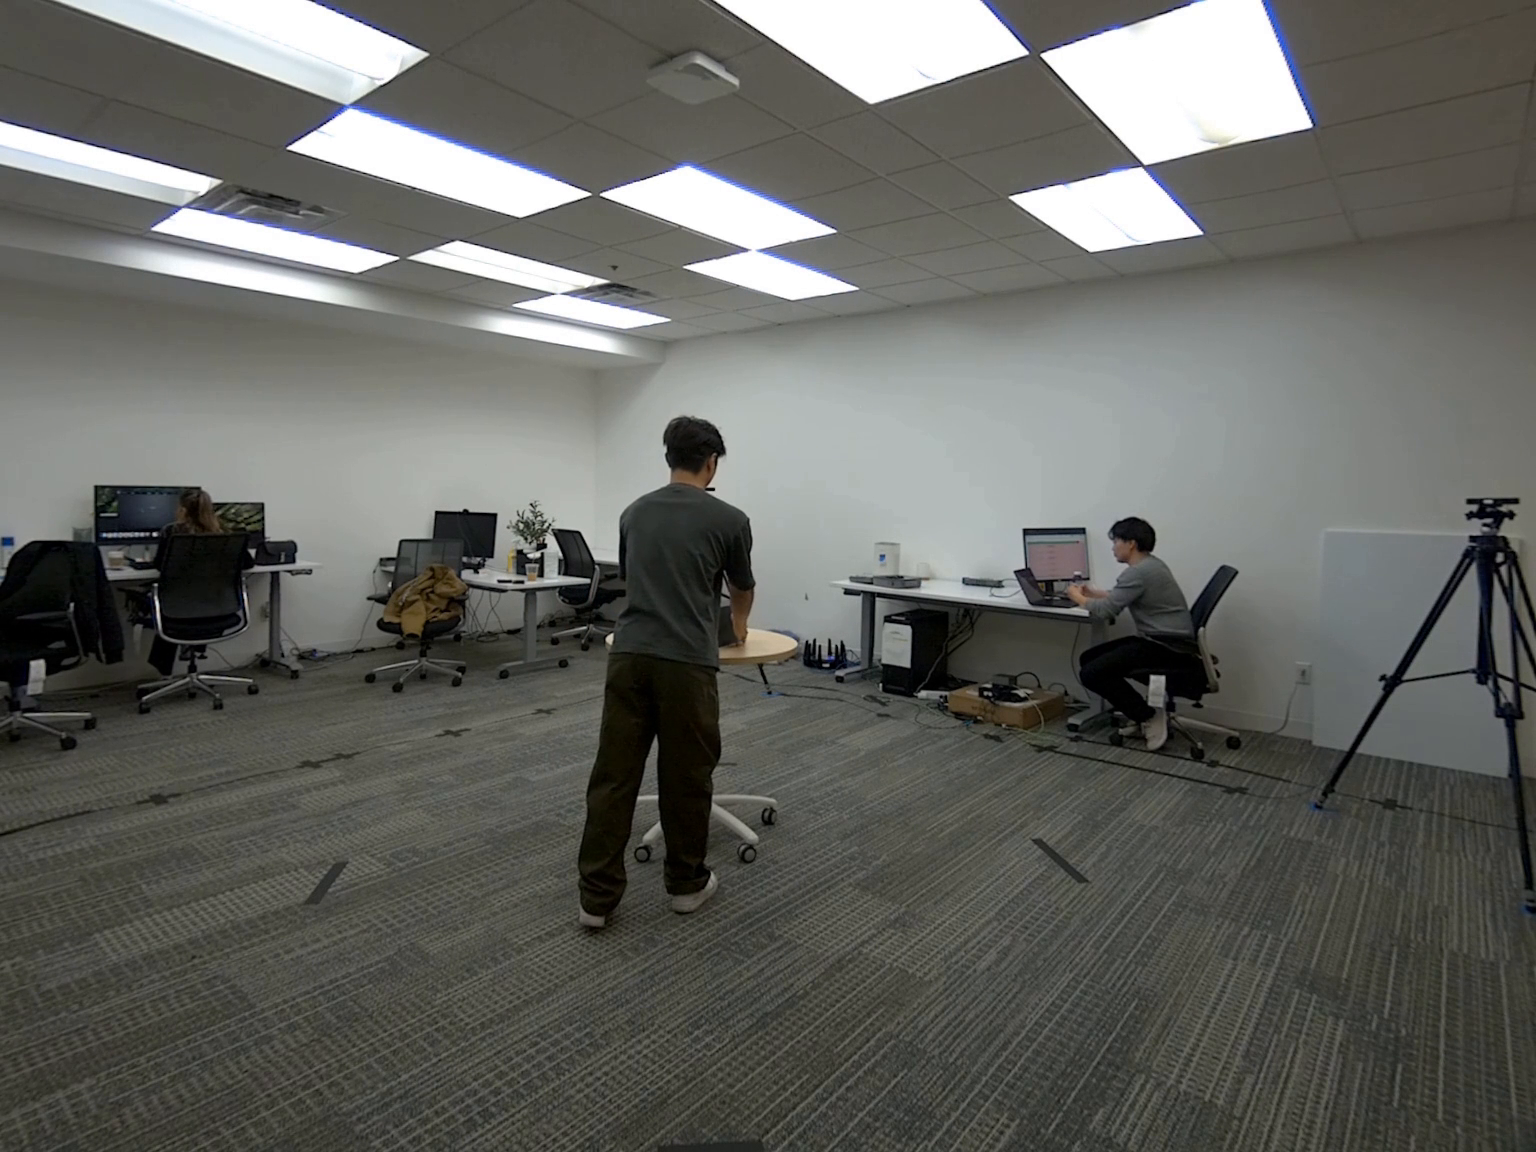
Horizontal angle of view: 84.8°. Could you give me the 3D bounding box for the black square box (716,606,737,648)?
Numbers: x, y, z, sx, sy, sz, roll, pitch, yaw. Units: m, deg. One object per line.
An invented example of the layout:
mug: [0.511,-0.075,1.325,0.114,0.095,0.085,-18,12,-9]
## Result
black square box: [-0.239,0.176,3.381,0.223,0.155,0.222,3,5,28]
